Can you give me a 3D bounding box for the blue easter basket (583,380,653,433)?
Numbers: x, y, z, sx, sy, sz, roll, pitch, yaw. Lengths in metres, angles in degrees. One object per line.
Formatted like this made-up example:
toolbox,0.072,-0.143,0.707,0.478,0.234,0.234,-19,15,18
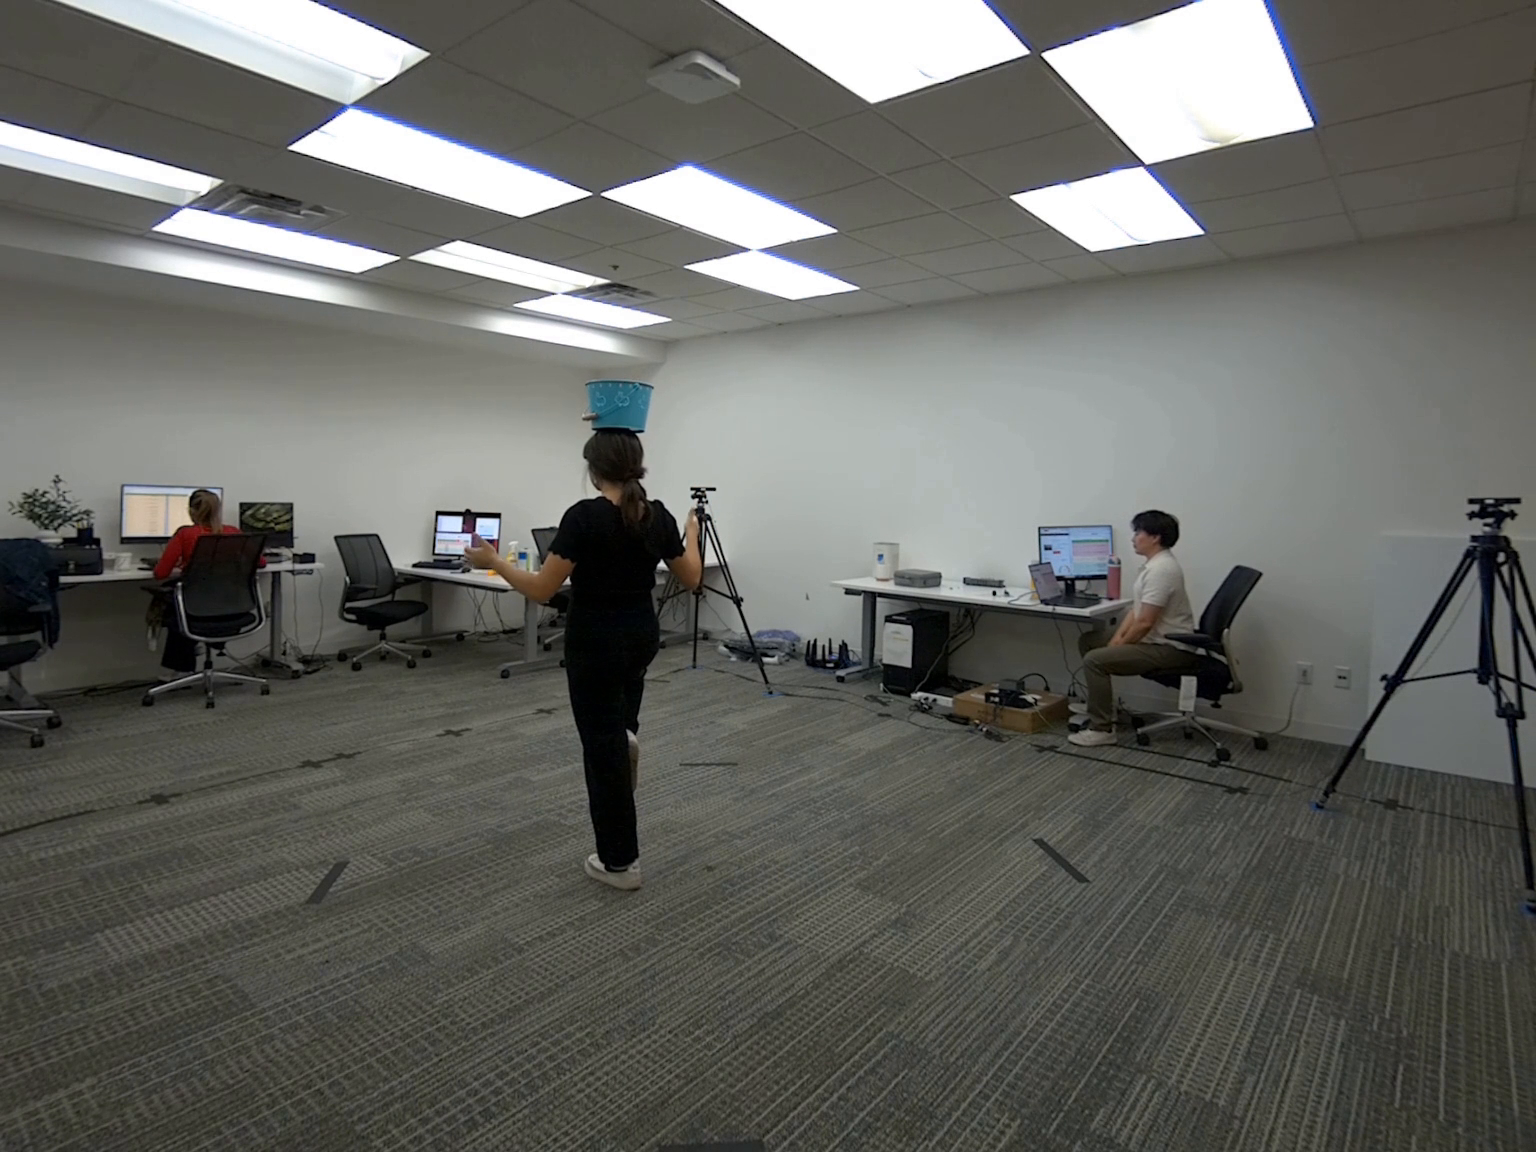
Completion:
blue easter basket,-0.524,-0.575,2.879,0.243,0.156,0.244,2,2,-2
